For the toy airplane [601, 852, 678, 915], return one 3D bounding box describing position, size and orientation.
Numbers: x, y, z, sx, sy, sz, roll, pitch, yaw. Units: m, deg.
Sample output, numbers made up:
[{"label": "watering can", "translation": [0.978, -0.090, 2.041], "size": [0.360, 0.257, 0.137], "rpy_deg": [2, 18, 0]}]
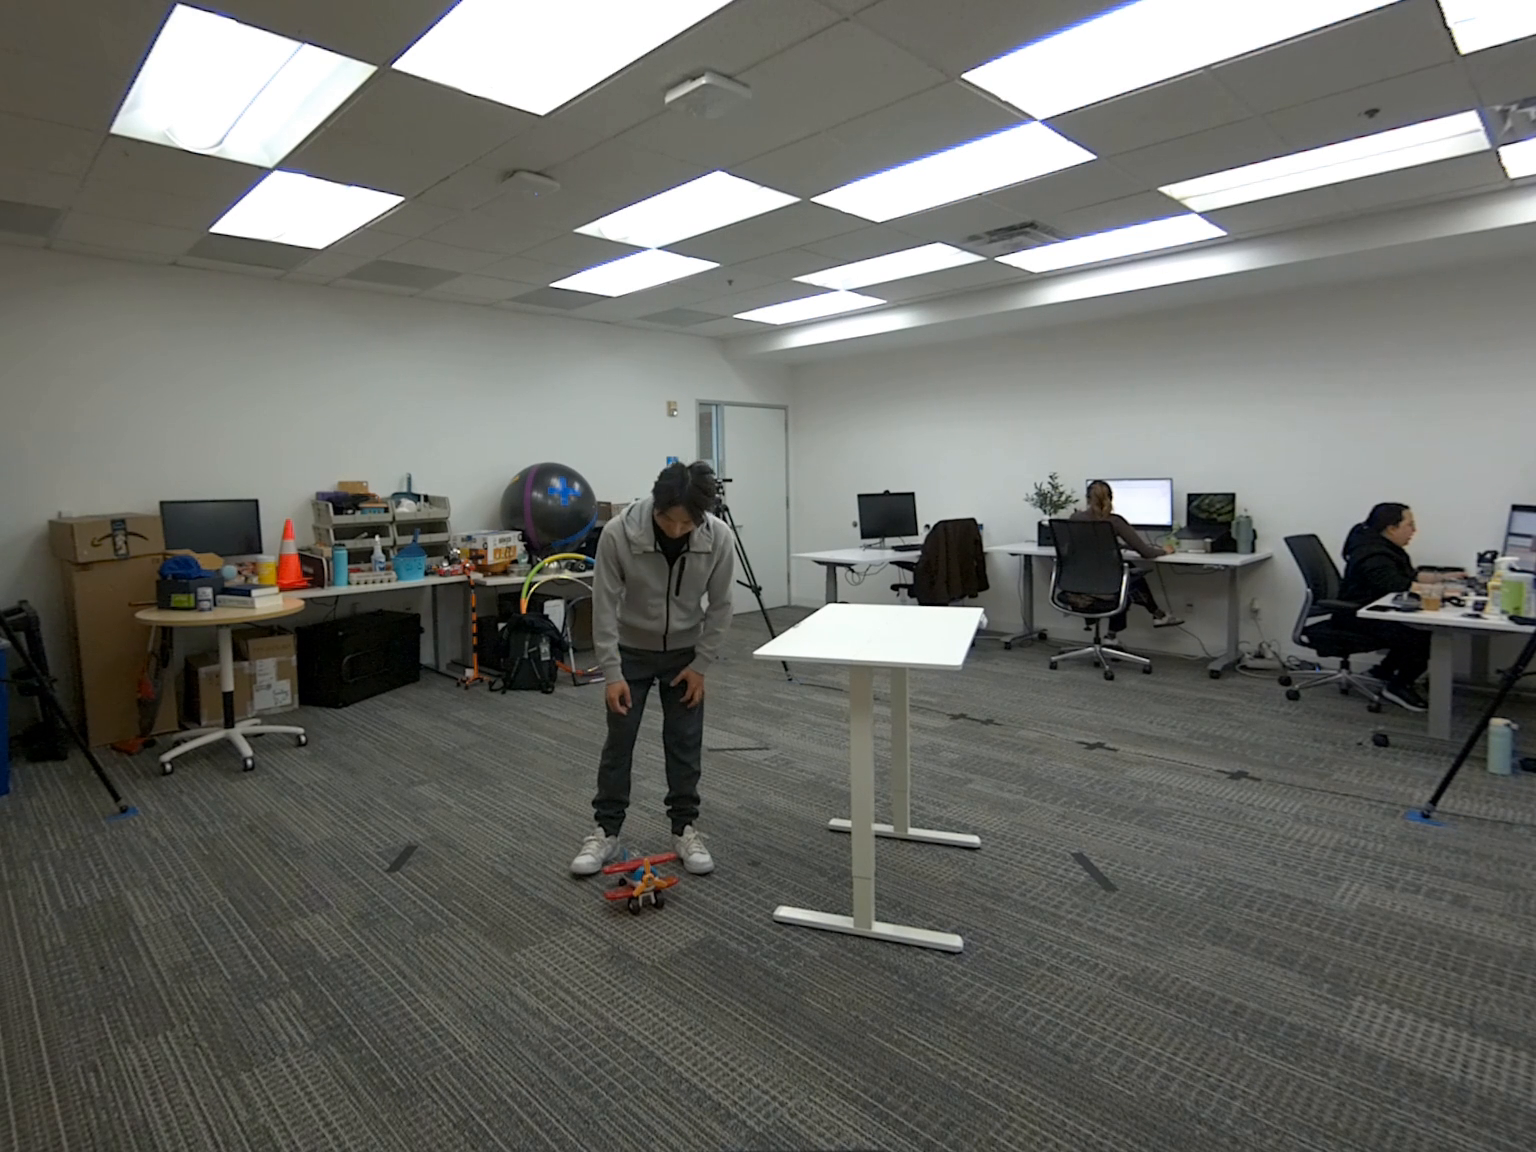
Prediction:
[{"label": "toy airplane", "translation": [-0.451, 1.007, 2.843], "size": [0.267, 0.155, 0.245], "rpy_deg": [5, 9, 34]}]
